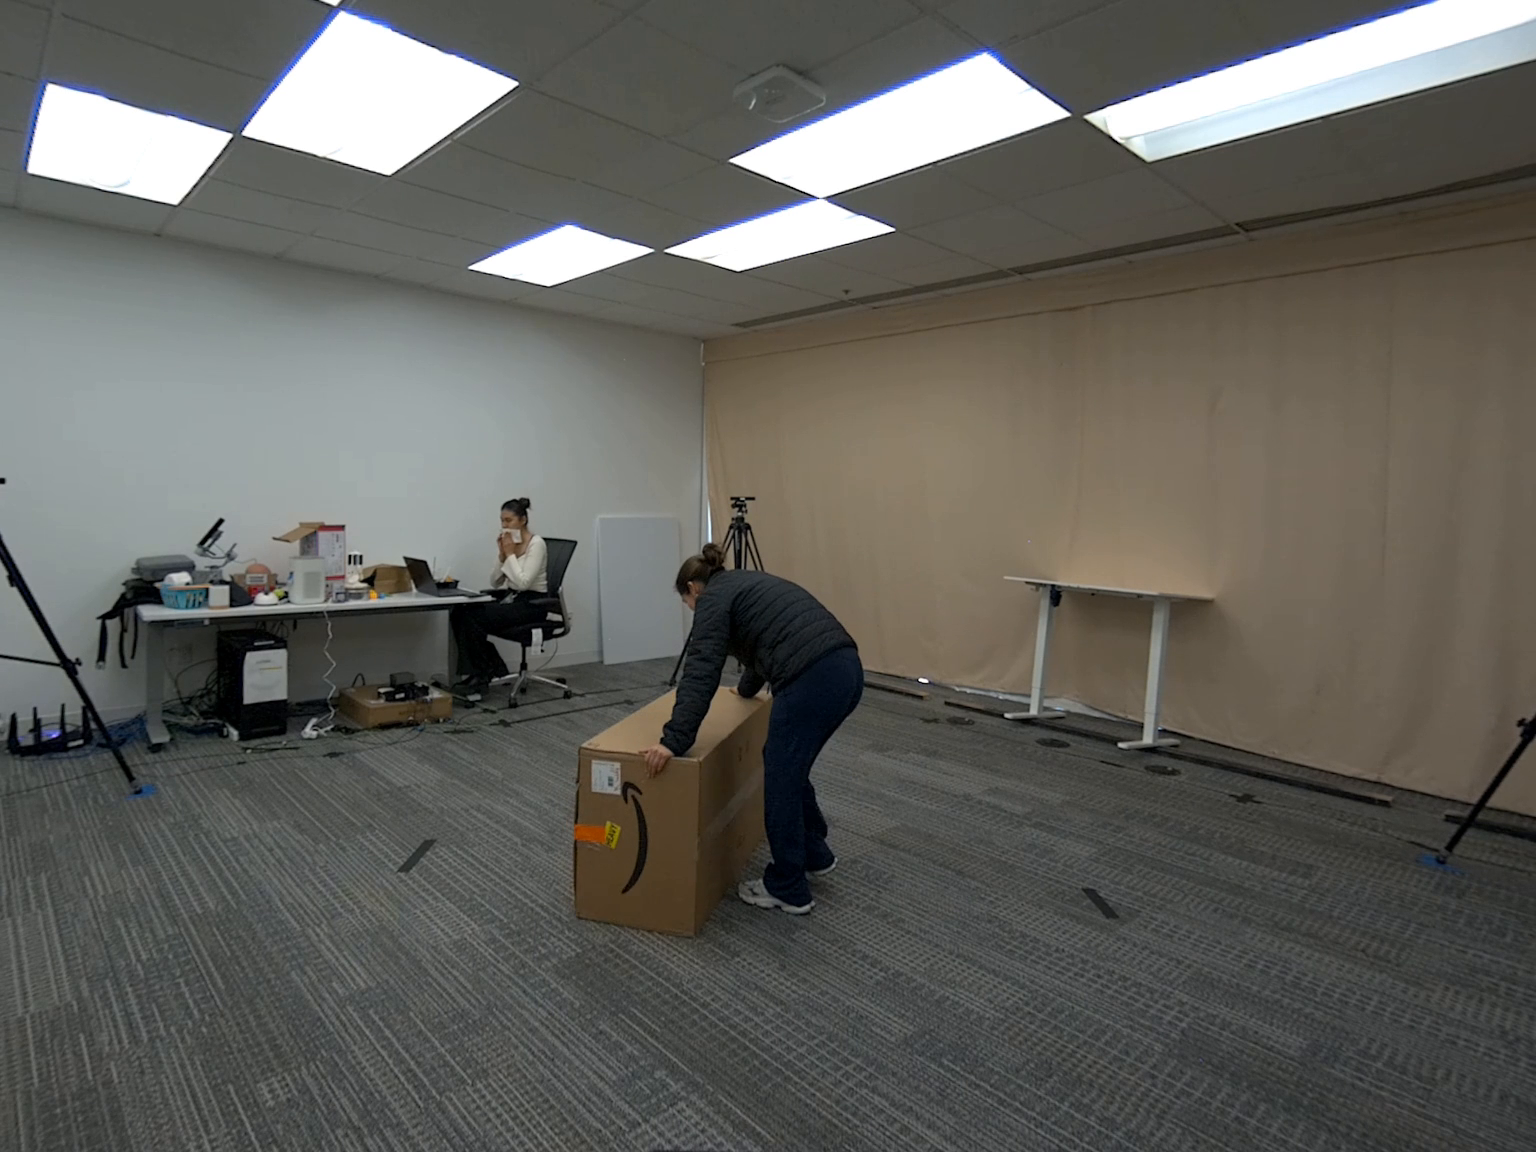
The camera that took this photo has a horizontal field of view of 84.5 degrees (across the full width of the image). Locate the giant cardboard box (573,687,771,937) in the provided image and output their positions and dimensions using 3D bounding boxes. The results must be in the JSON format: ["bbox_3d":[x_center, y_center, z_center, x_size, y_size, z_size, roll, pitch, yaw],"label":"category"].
[{"bbox_3d":[-0.307,0.811,3.172,0.452,0.582,1.017,4,5,14],"label":"giant cardboard box"}]
